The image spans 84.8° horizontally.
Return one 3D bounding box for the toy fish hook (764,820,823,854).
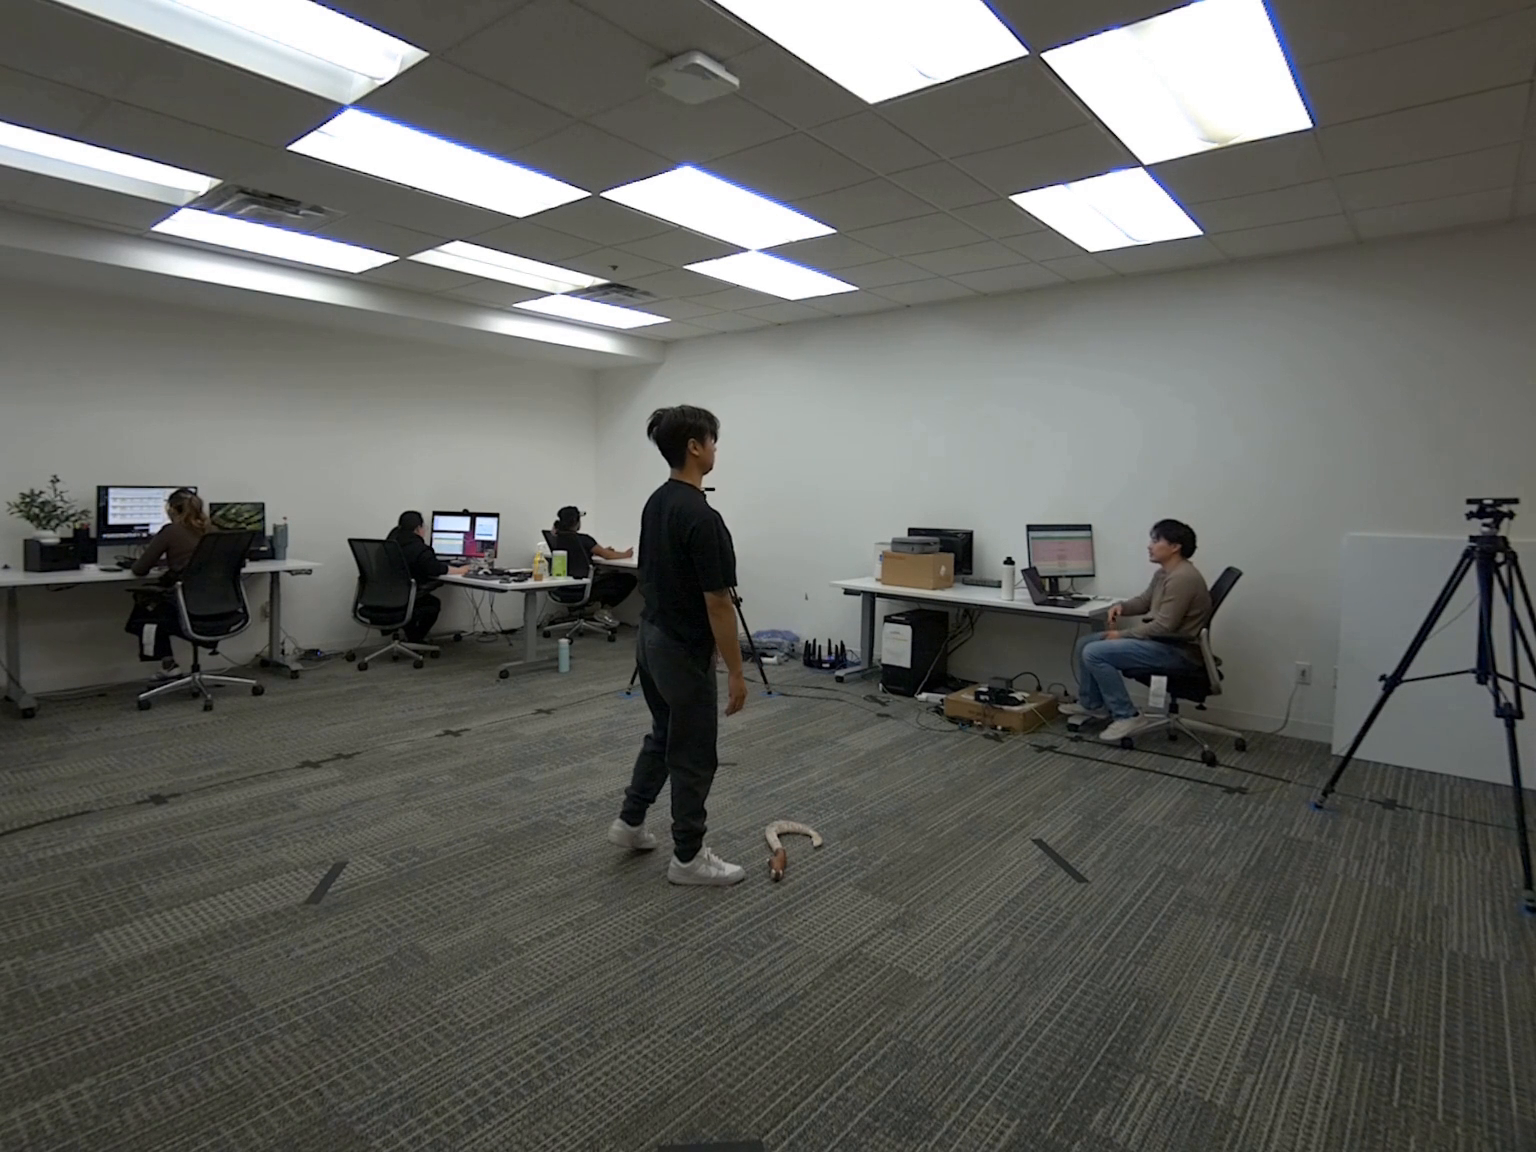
[{"bbox_3d":[0.086,1.035,3.245,0.226,0.048,0.506,-1,6,4],"label":"toy fish hook"}]
